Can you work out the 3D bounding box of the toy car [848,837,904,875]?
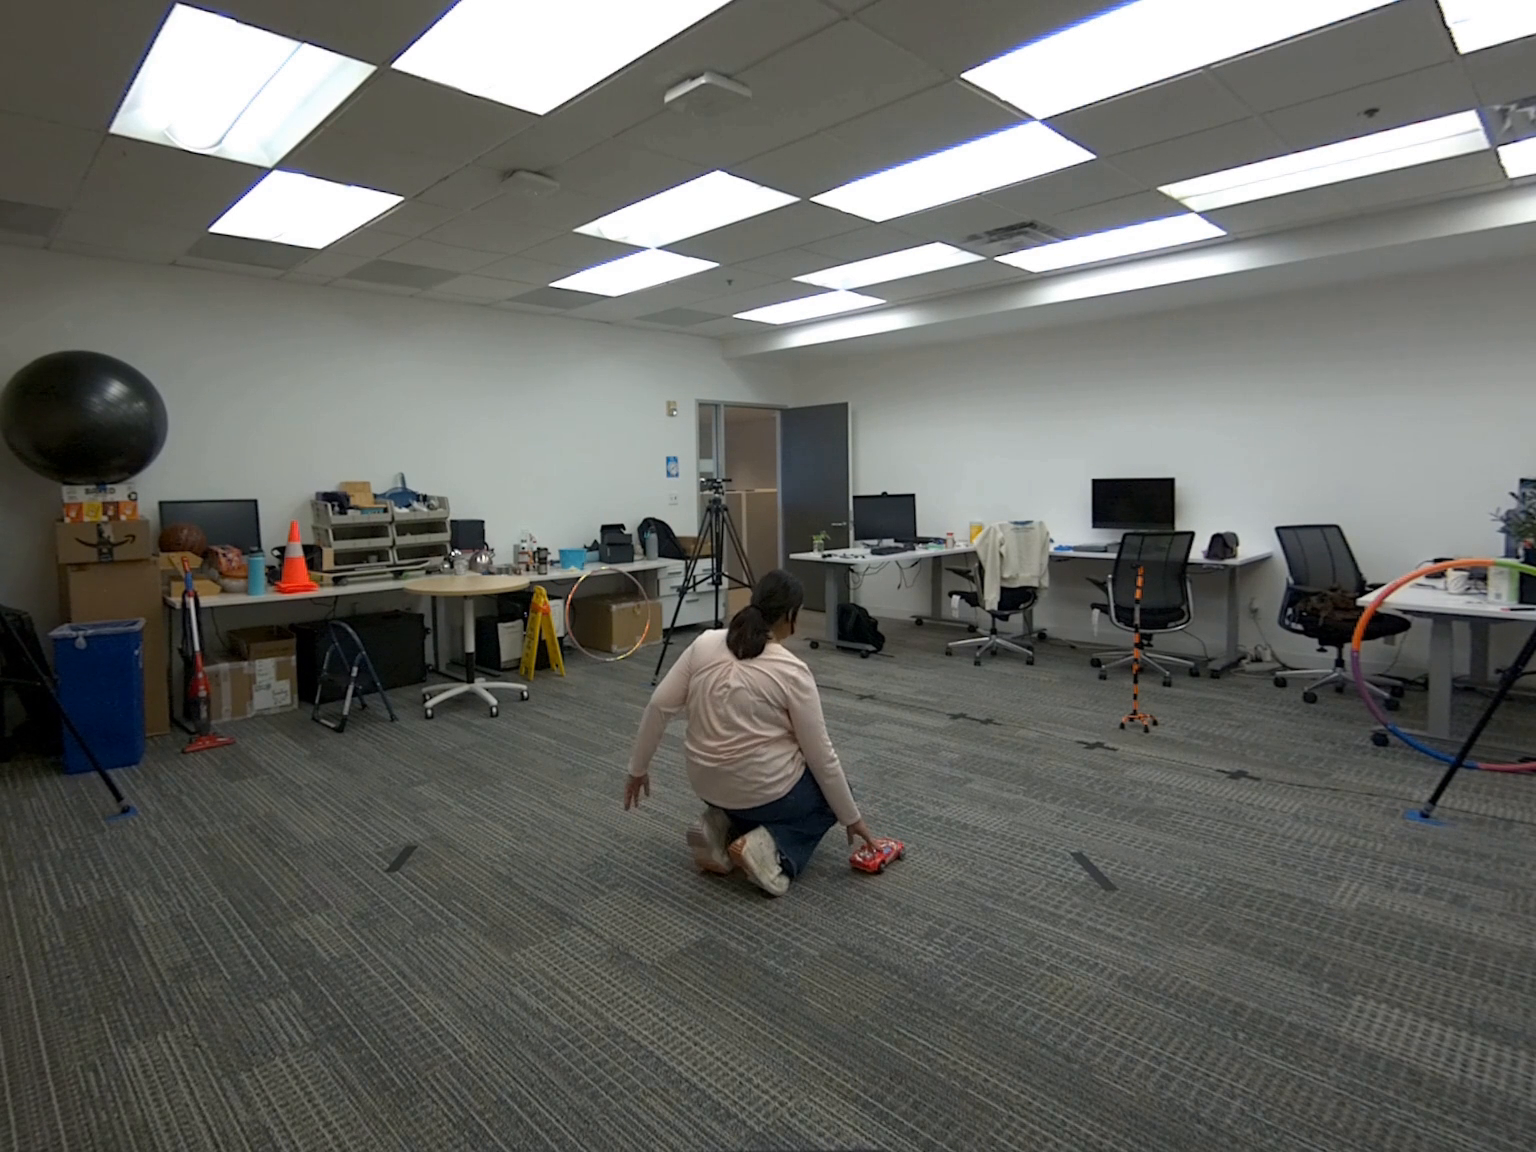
[{"bbox_3d":[0.389,0.998,3.076,0.134,0.083,0.246,5,-2,40],"label":"toy car"}]
